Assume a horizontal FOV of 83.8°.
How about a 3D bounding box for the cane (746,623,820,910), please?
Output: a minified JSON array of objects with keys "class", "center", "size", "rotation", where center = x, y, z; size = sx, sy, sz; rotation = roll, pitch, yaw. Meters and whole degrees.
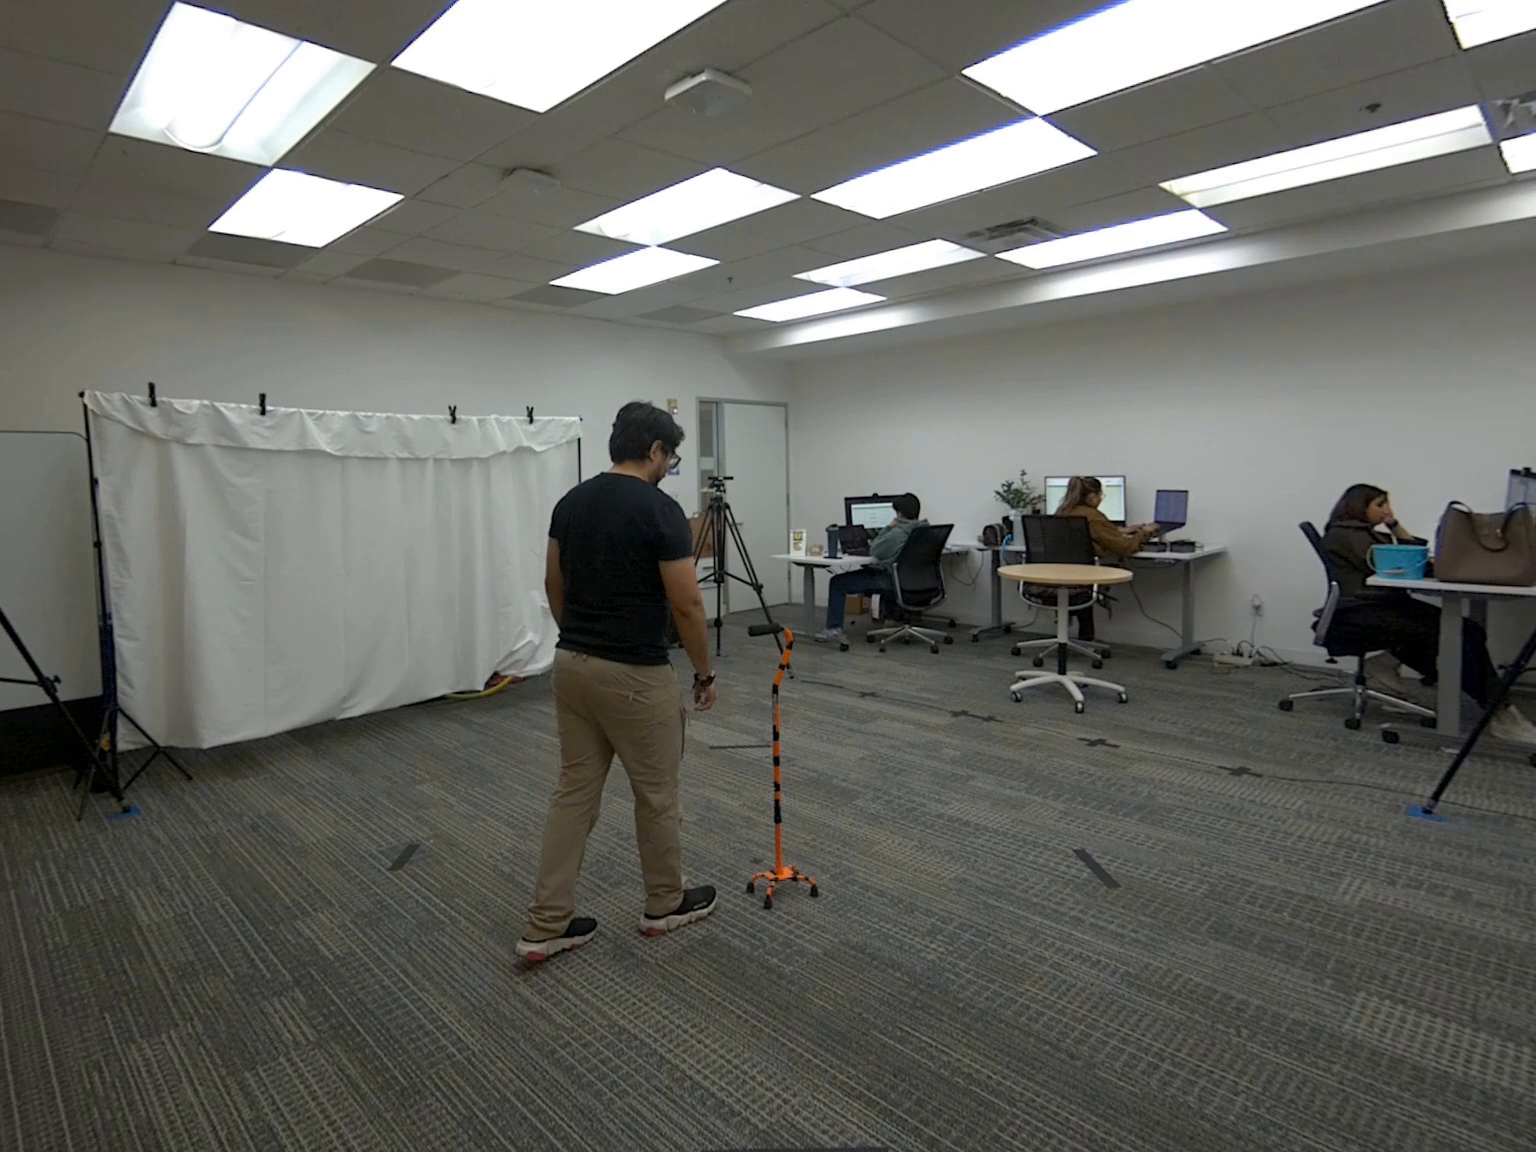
[{"class":"cane","center":[0.038,0.615,2.830],"size":[0.202,0.904,0.155],"rotation":[-4,5,-27]}]
